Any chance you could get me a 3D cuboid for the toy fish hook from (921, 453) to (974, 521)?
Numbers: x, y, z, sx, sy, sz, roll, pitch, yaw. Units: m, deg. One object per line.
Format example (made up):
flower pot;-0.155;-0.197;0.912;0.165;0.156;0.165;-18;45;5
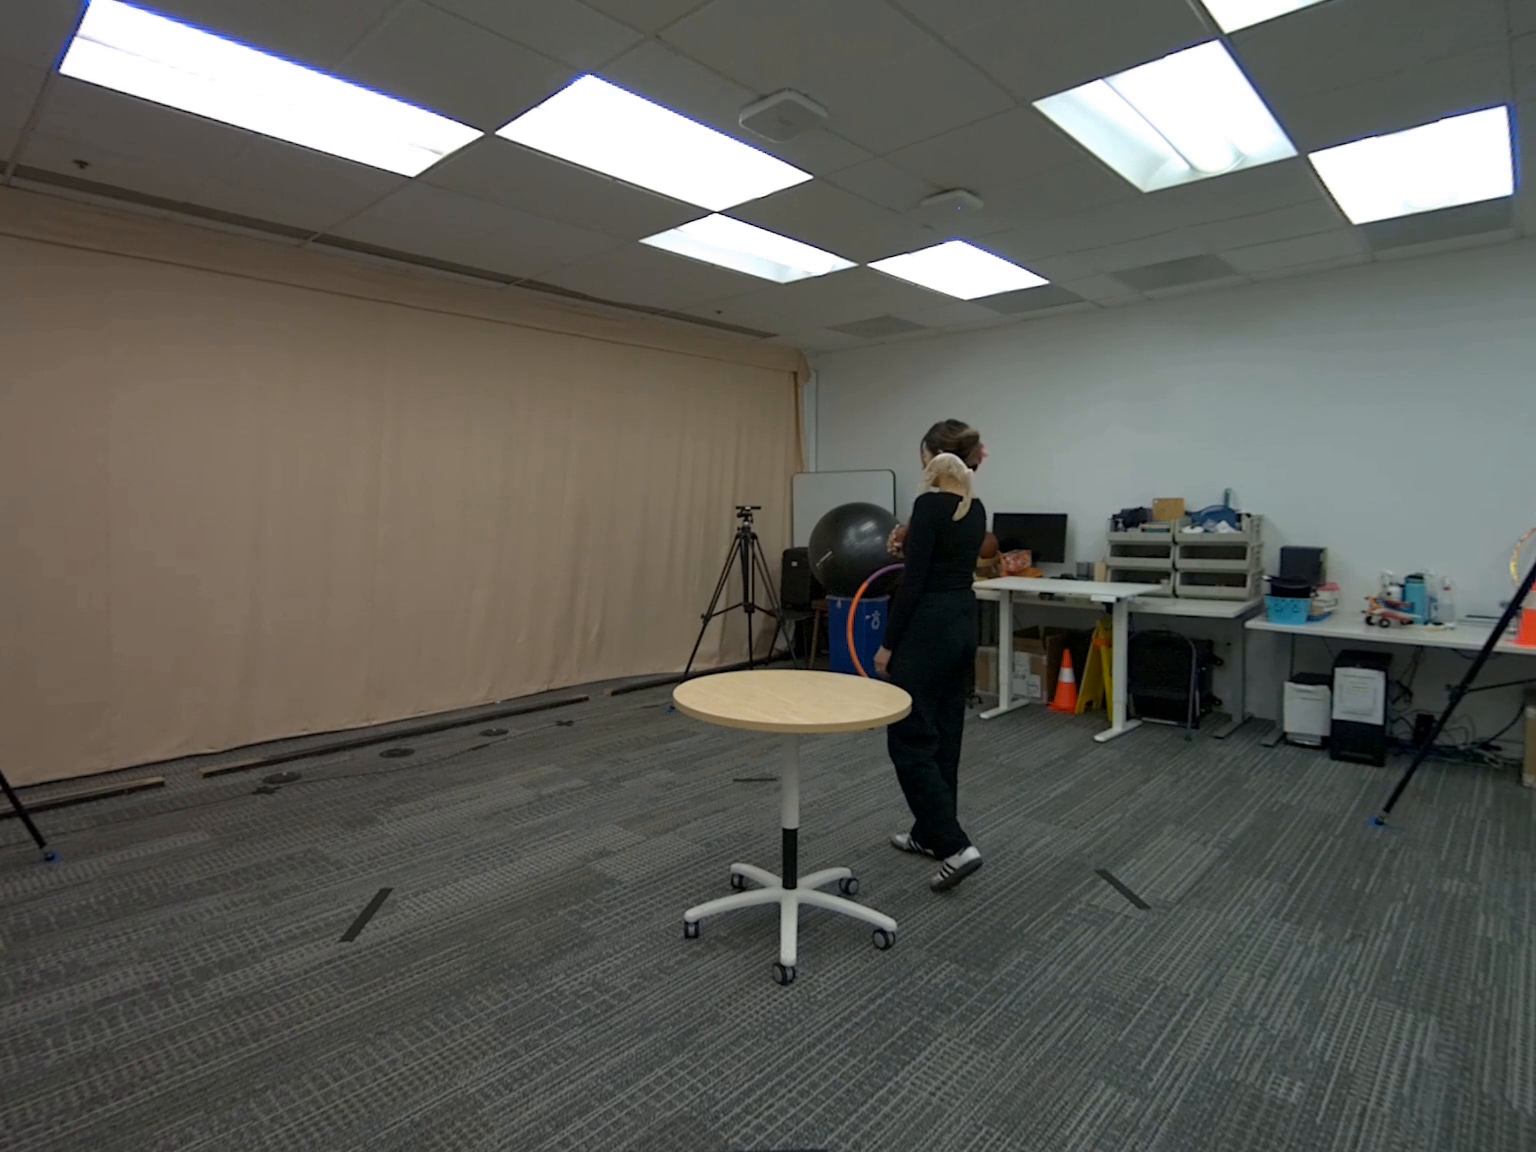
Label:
toy fish hook;0.606;-0.224;3.123;0.047;0.504;0.232;-10;50;-36
